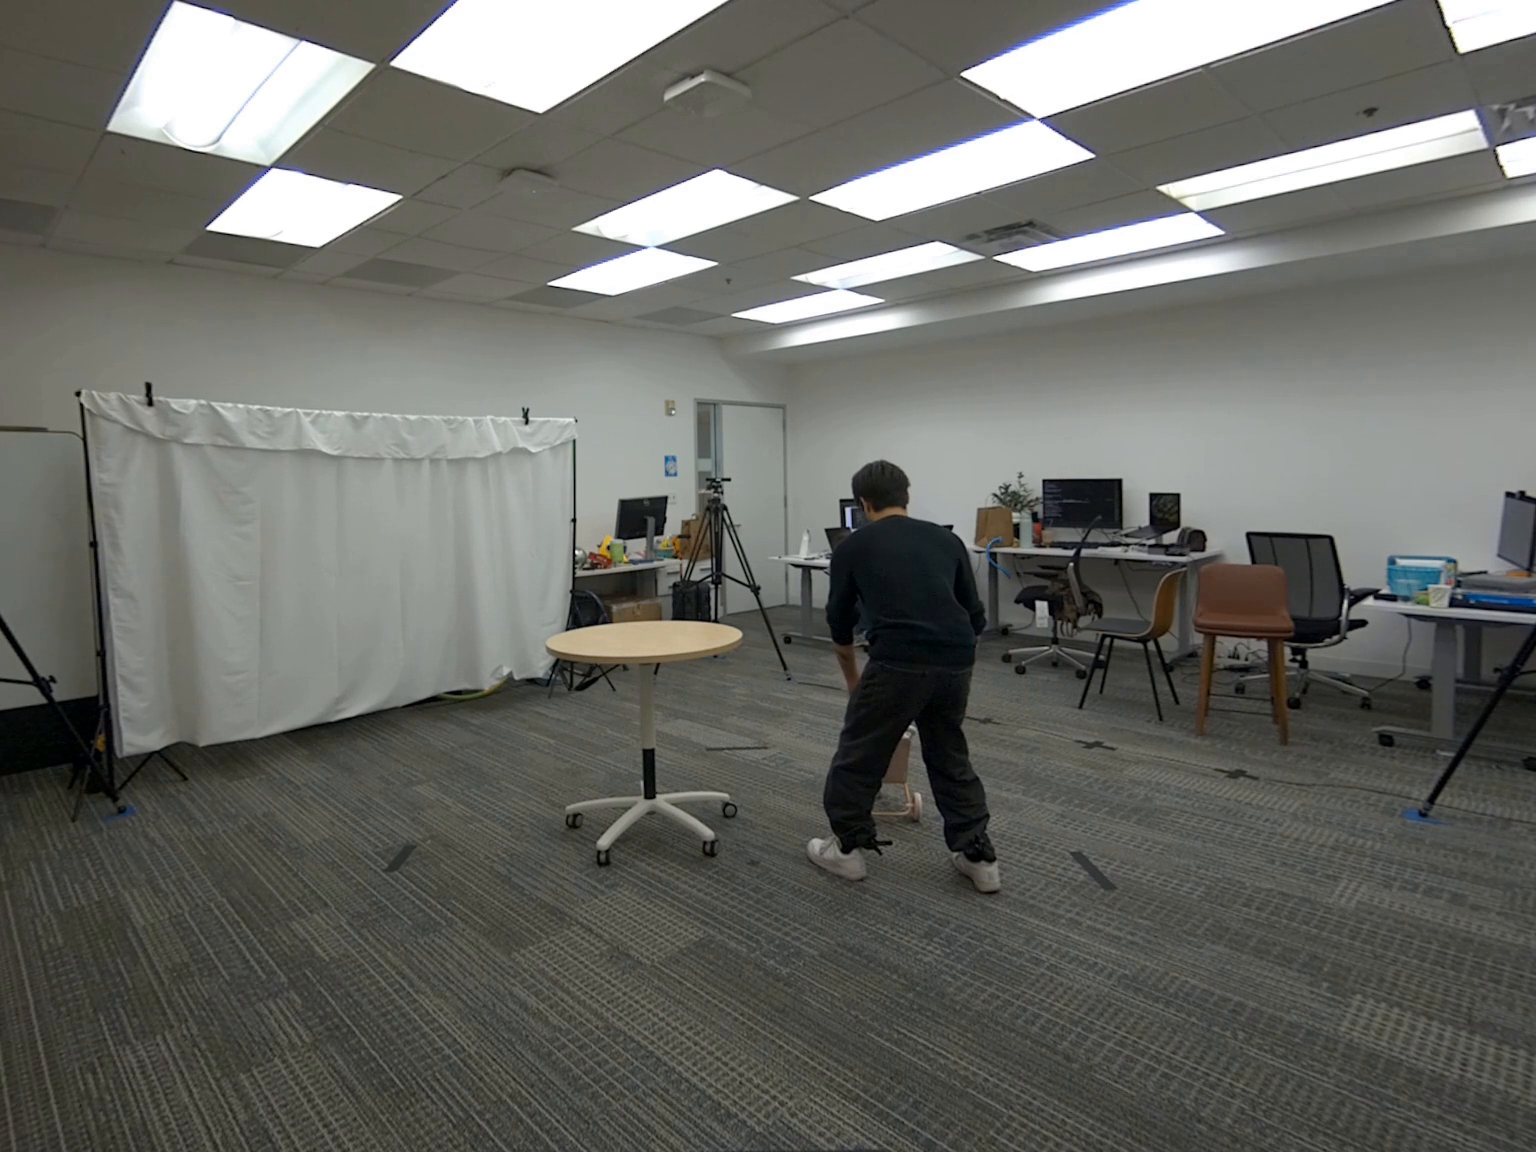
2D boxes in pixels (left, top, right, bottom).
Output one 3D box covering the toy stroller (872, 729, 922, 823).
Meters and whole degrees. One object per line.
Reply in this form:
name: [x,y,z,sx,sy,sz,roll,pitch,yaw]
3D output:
toy stroller: [0.489,0.764,3.536,0.283,0.526,0.345,0,19,6]
